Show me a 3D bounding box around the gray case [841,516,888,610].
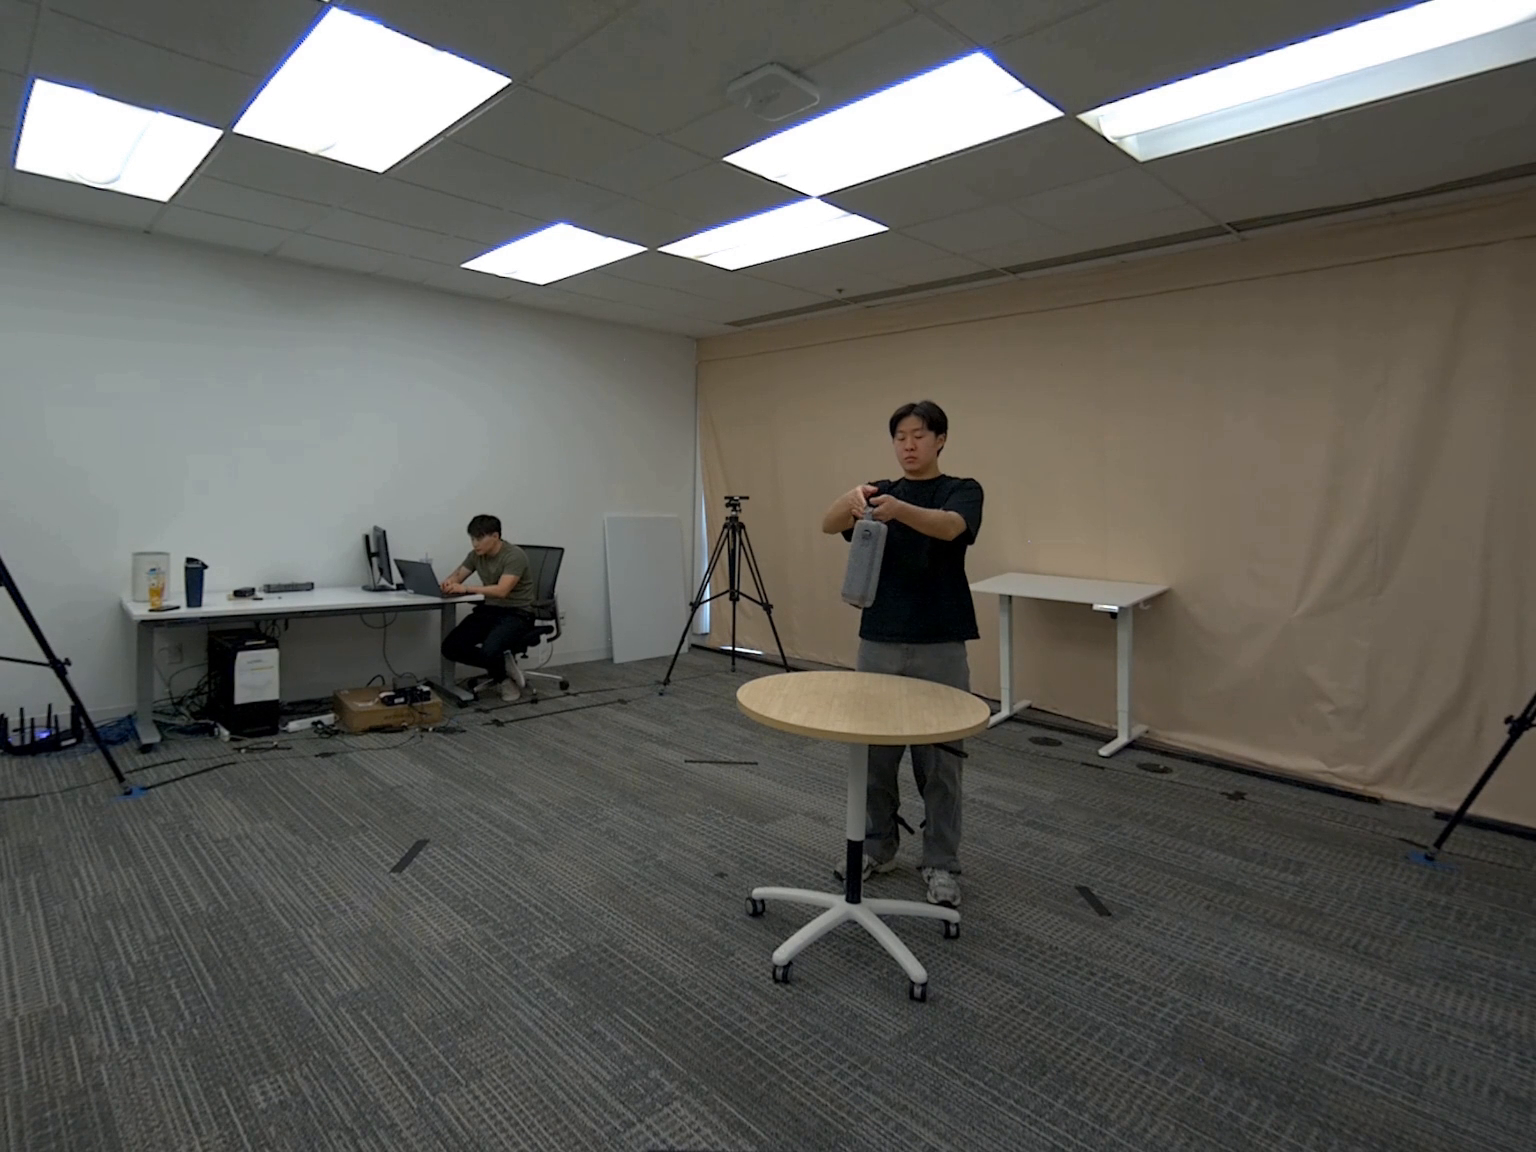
[{"bbox_3d":[0.299,-0.047,2.638,0.104,0.288,0.260,9,-6,6],"label":"gray case"}]
